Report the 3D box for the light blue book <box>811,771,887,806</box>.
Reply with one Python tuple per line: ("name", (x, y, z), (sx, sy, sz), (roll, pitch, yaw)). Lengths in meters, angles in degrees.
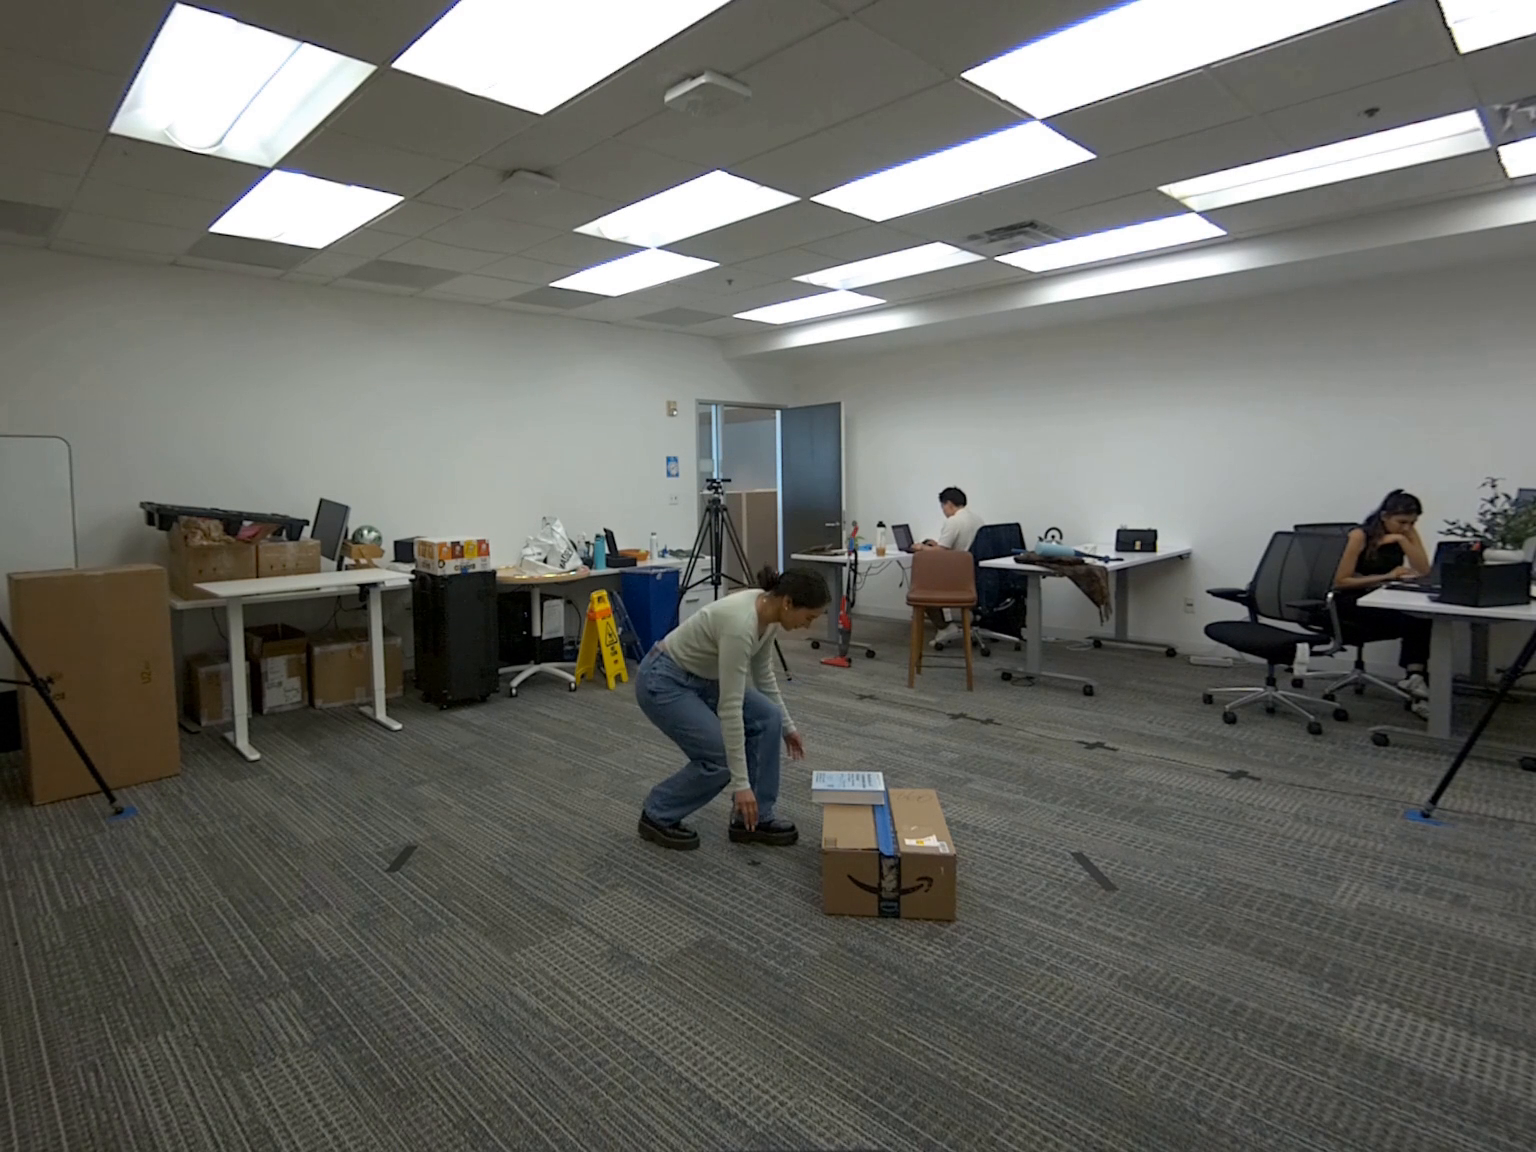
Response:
("light blue book", (0.297, 0.782, 3.173), (0.263, 0.059, 0.191), (-1, 7, 7))
